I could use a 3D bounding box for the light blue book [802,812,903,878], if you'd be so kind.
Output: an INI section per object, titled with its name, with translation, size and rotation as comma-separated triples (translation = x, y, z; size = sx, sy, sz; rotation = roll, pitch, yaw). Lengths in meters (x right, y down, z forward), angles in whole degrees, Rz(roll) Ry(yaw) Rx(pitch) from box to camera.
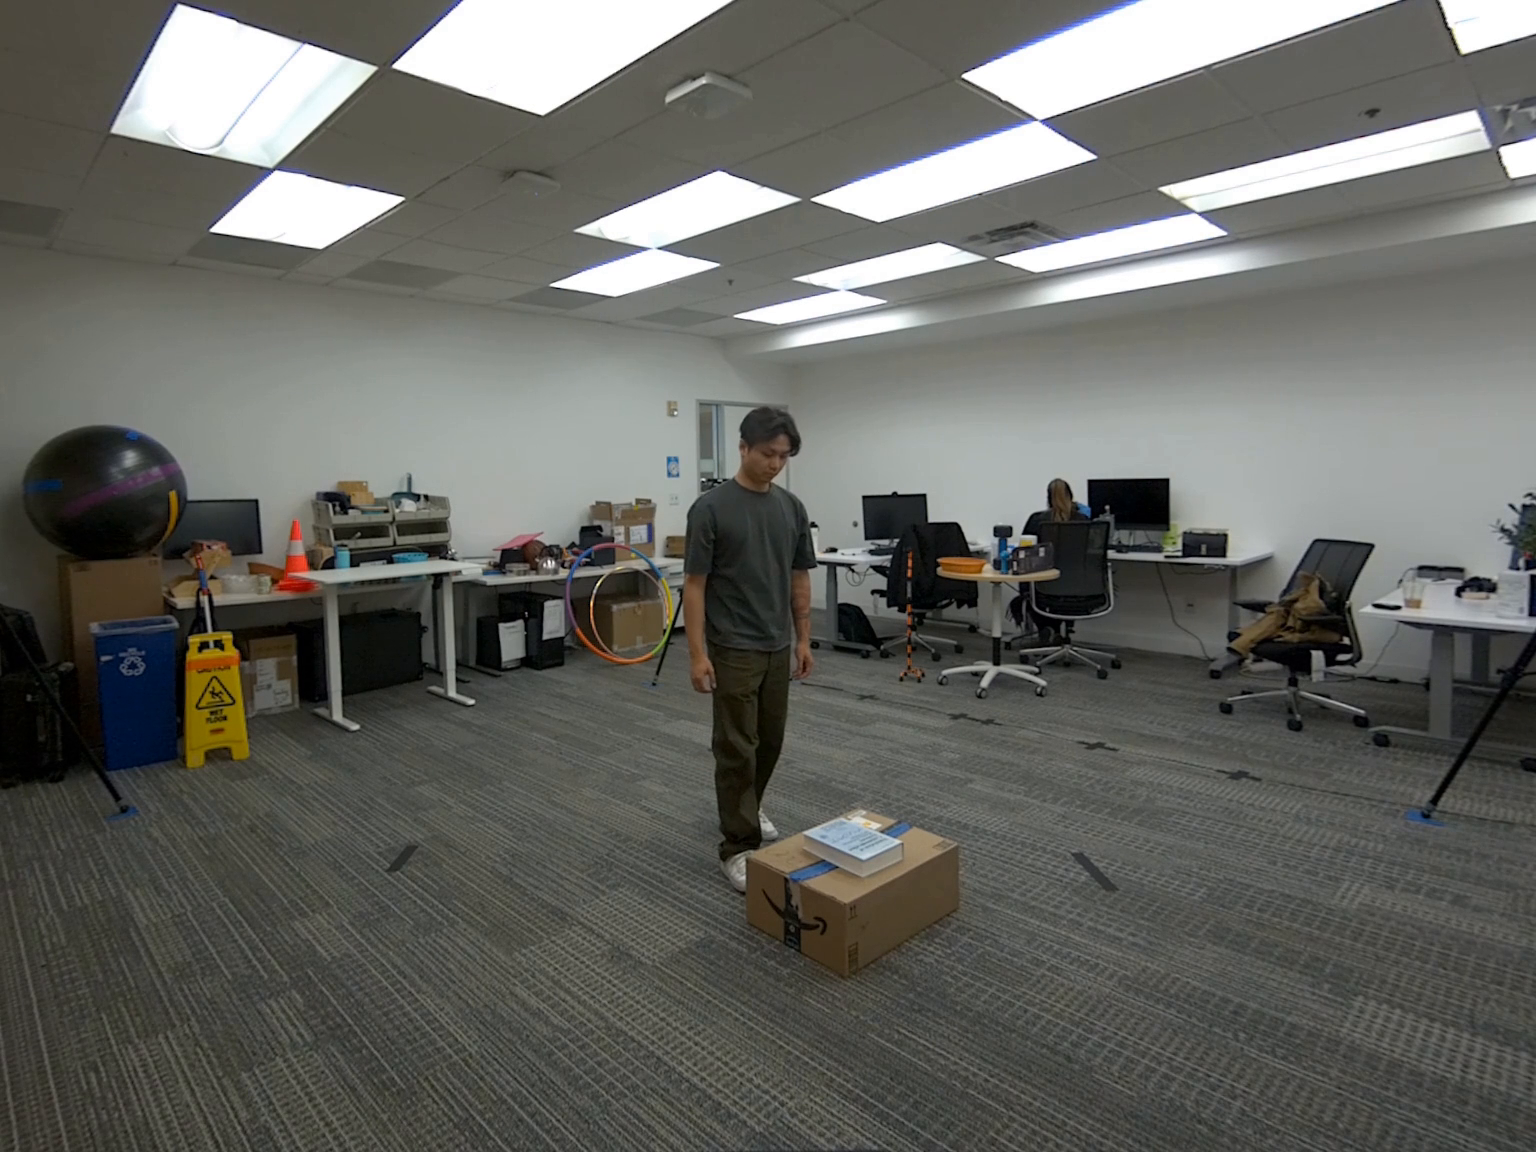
[light blue book]
translation = 0.274, 0.848, 2.692
size = 0.186, 0.059, 0.269
rotation = -8, 8, -40
